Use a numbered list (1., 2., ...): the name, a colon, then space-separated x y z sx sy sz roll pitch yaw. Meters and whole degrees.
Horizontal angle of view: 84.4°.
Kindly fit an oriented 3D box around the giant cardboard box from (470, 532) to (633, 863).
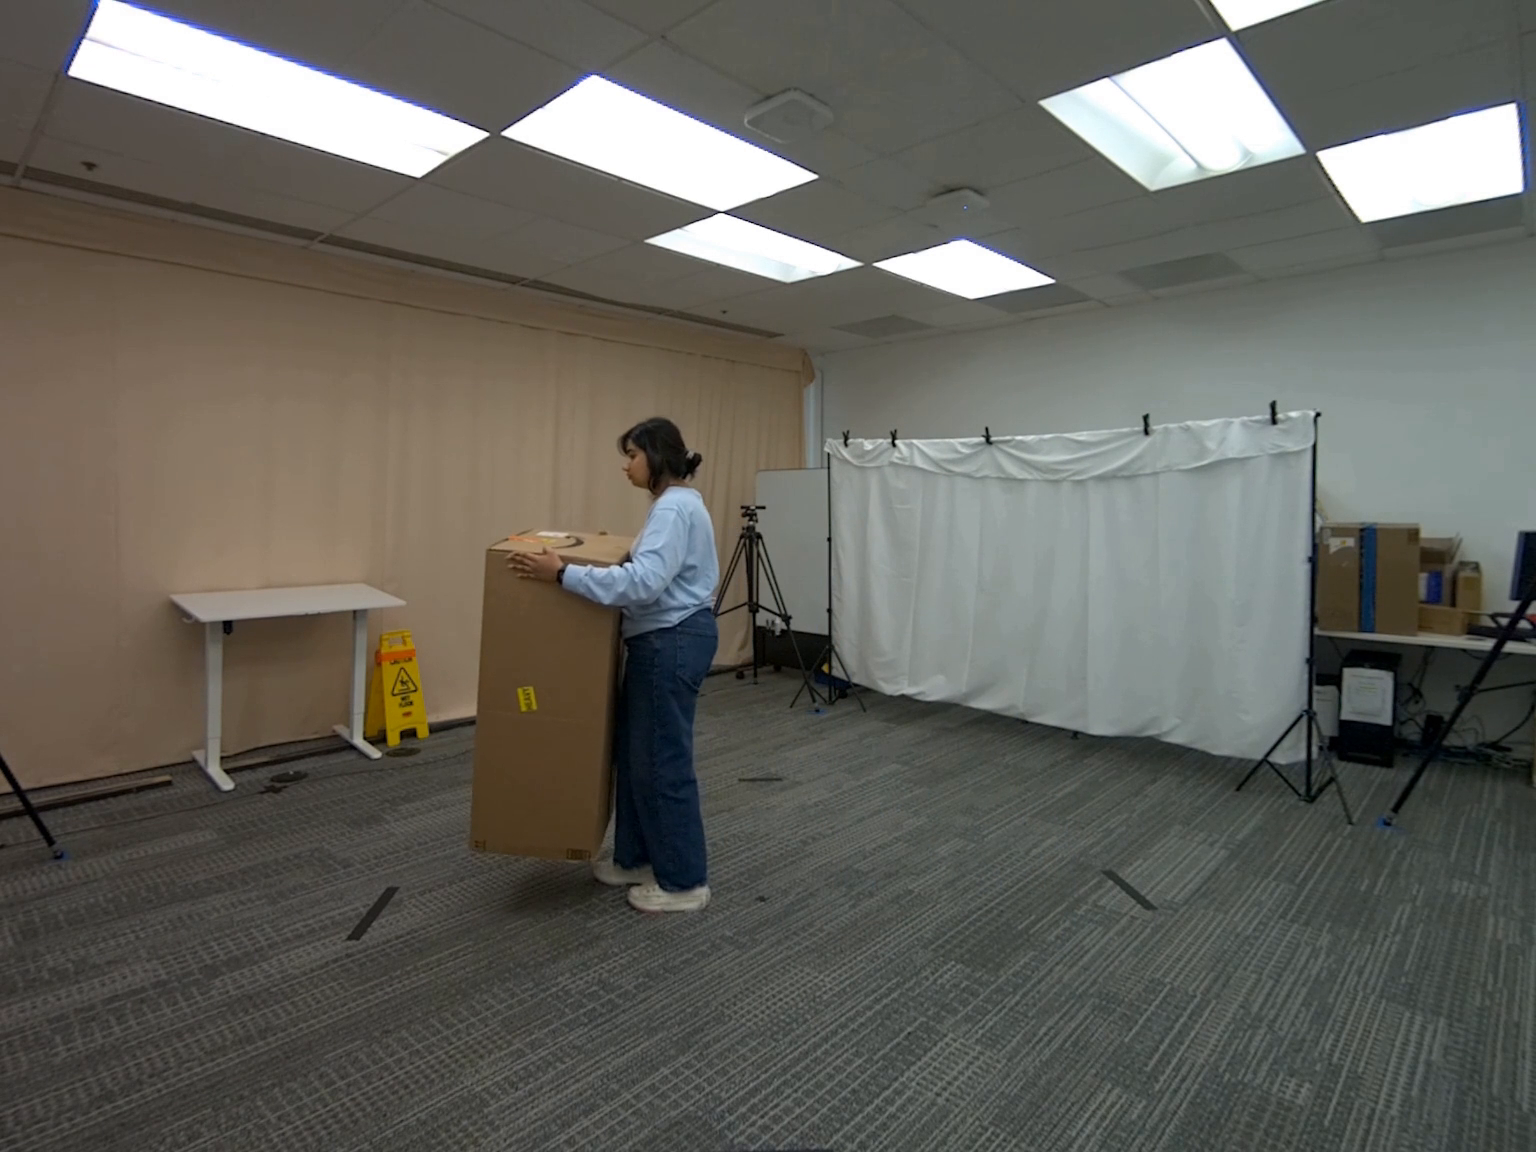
1. giant cardboard box: -0.750 0.396 2.998 0.427 1.021 0.579 6 8 0
